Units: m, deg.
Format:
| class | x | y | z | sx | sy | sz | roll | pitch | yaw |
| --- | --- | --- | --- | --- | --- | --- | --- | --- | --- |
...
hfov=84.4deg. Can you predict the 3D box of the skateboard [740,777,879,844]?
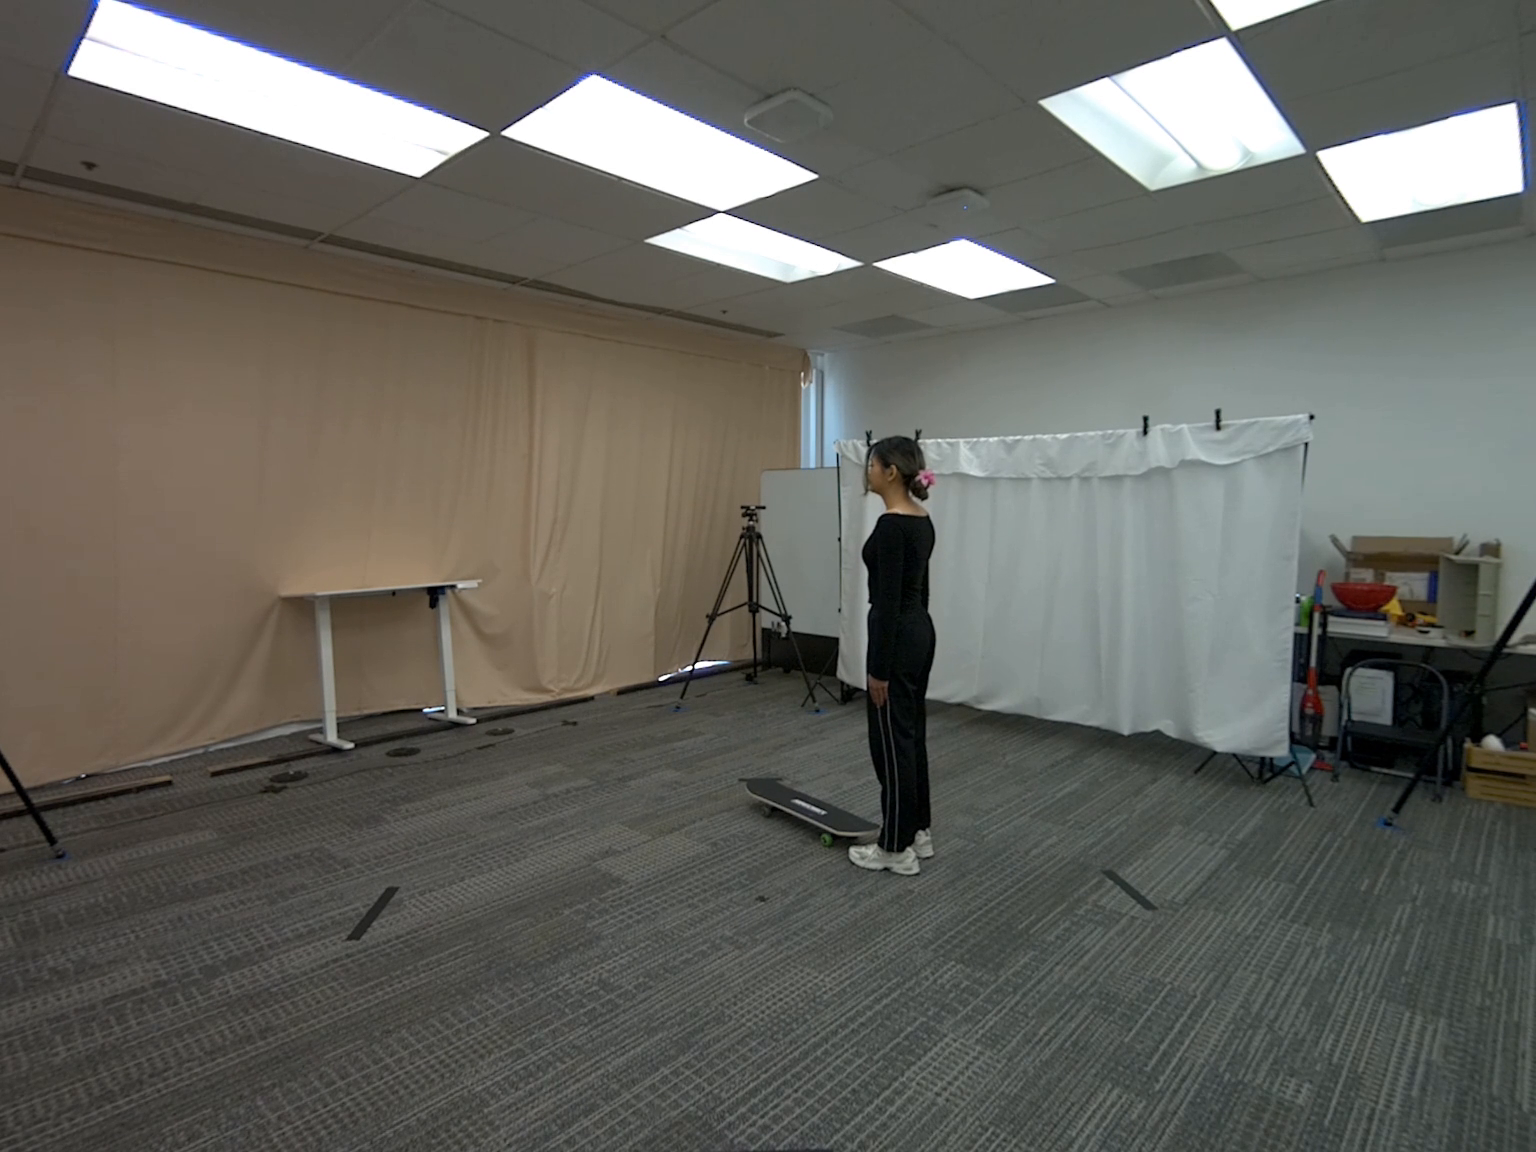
| class | x | y | z | sx | sy | sz | roll | pitch | yaw |
| --- | --- | --- | --- | --- | --- | --- | --- | --- | --- |
| skateboard | 0.178 | 1.029 | 3.651 | 0.188 | 0.110 | 0.811 | -2 | 5 | -37 |
